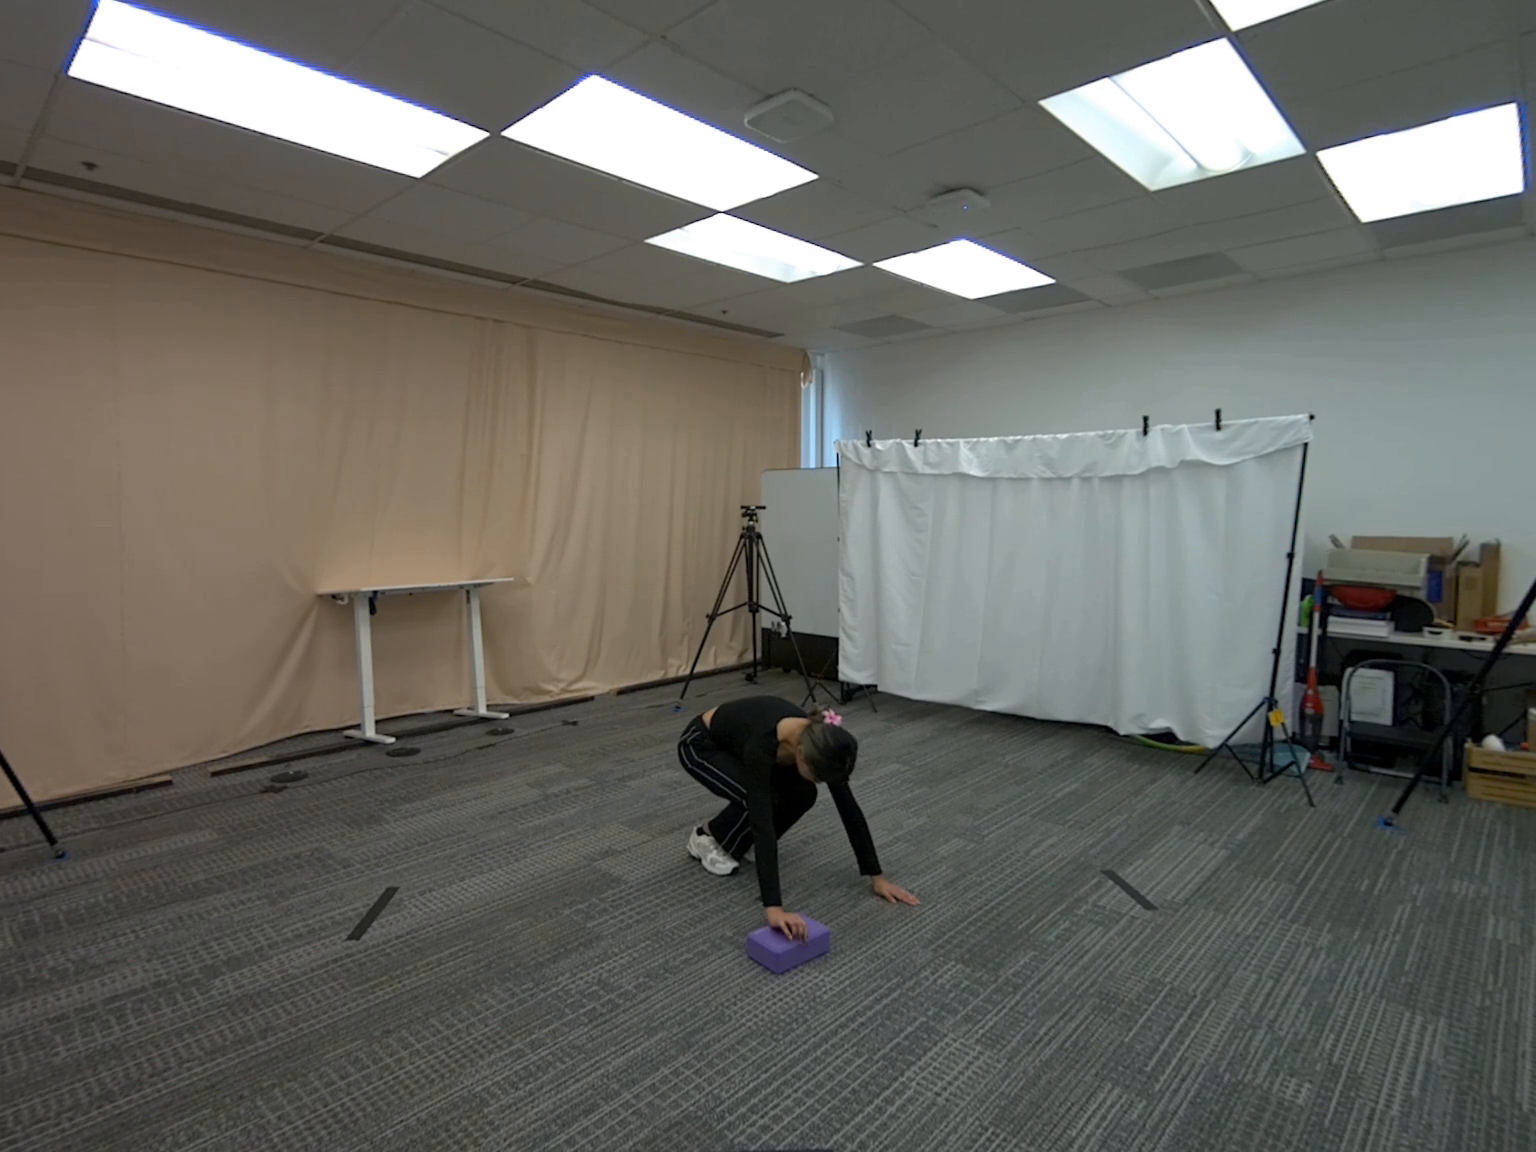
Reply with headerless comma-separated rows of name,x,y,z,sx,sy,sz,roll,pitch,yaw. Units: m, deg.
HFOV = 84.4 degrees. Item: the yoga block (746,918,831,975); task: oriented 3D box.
yoga block,0.063,1.131,2.618,0.222,0.076,0.154,-5,7,-41
